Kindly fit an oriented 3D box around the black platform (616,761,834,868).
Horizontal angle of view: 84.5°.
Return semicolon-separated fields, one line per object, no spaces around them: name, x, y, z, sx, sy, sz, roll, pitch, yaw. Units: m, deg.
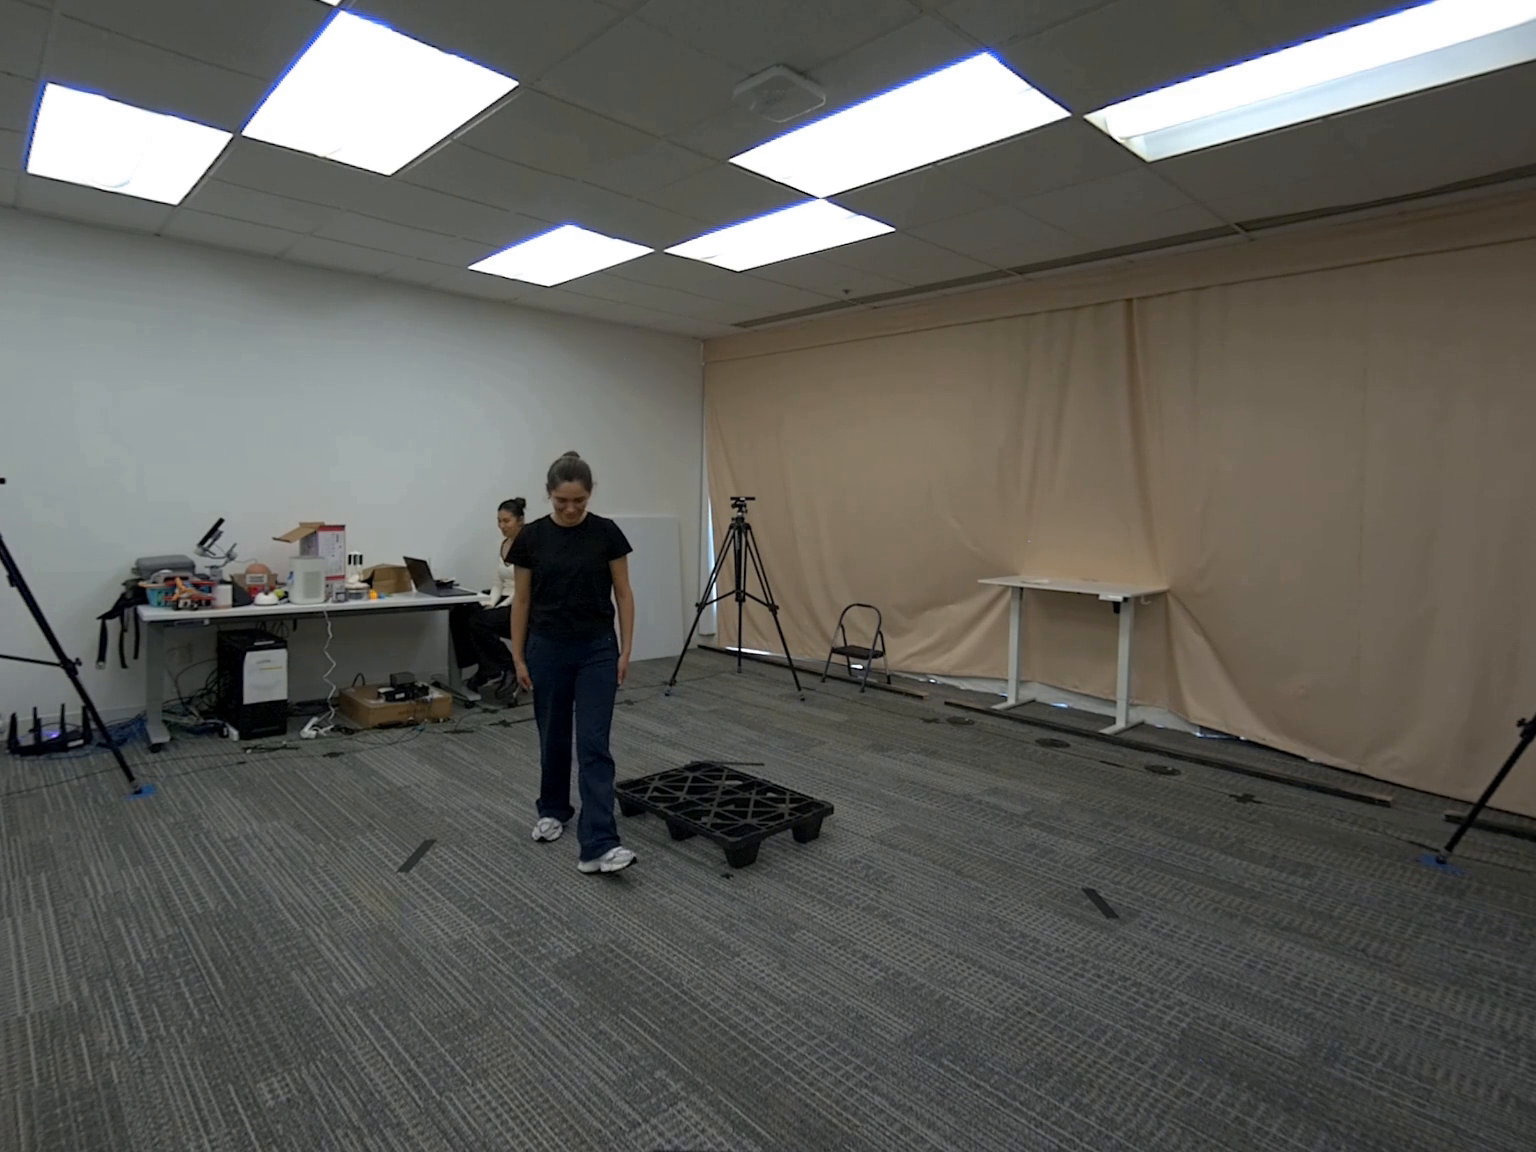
black platform;-0.218;0.999;3.561;0.826;0.143;0.591;6;7;45
